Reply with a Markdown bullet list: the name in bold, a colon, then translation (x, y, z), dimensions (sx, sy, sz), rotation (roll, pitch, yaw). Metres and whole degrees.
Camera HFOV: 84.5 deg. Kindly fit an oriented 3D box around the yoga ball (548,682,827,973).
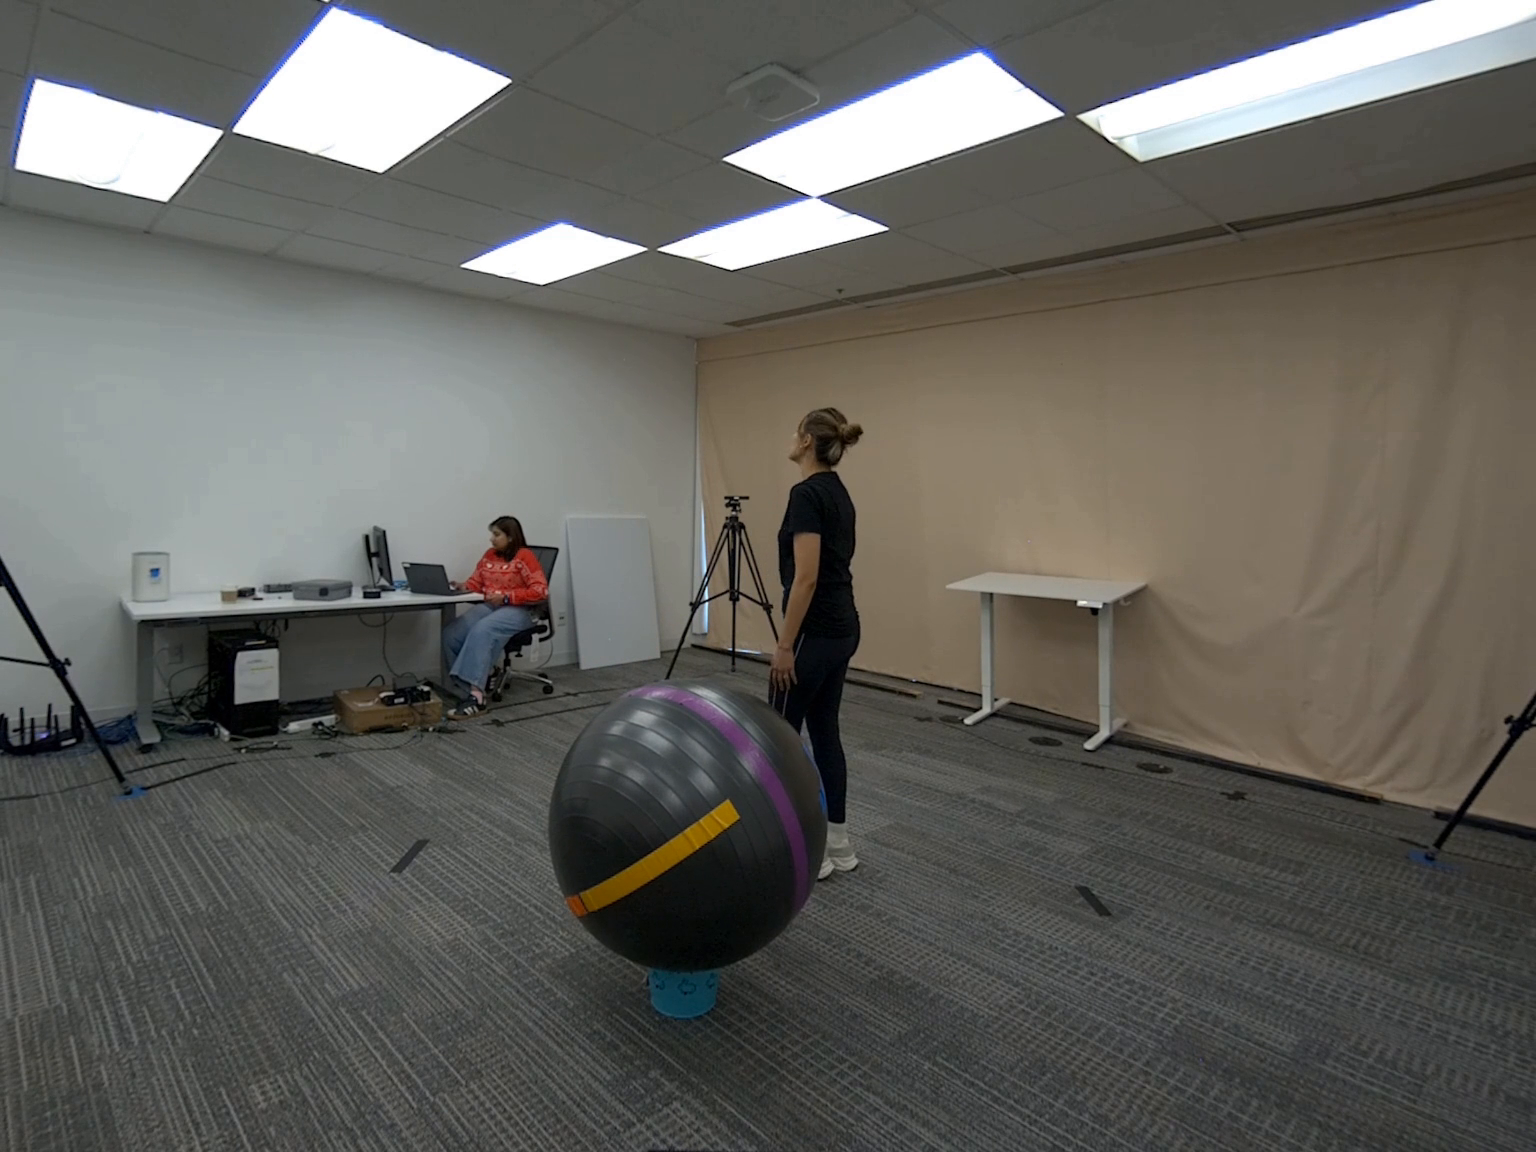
- **yoga ball**: translation (-0.220, 0.670, 2.296), dimensions (0.757, 0.756, 0.761), rotation (1, 4, -1)
